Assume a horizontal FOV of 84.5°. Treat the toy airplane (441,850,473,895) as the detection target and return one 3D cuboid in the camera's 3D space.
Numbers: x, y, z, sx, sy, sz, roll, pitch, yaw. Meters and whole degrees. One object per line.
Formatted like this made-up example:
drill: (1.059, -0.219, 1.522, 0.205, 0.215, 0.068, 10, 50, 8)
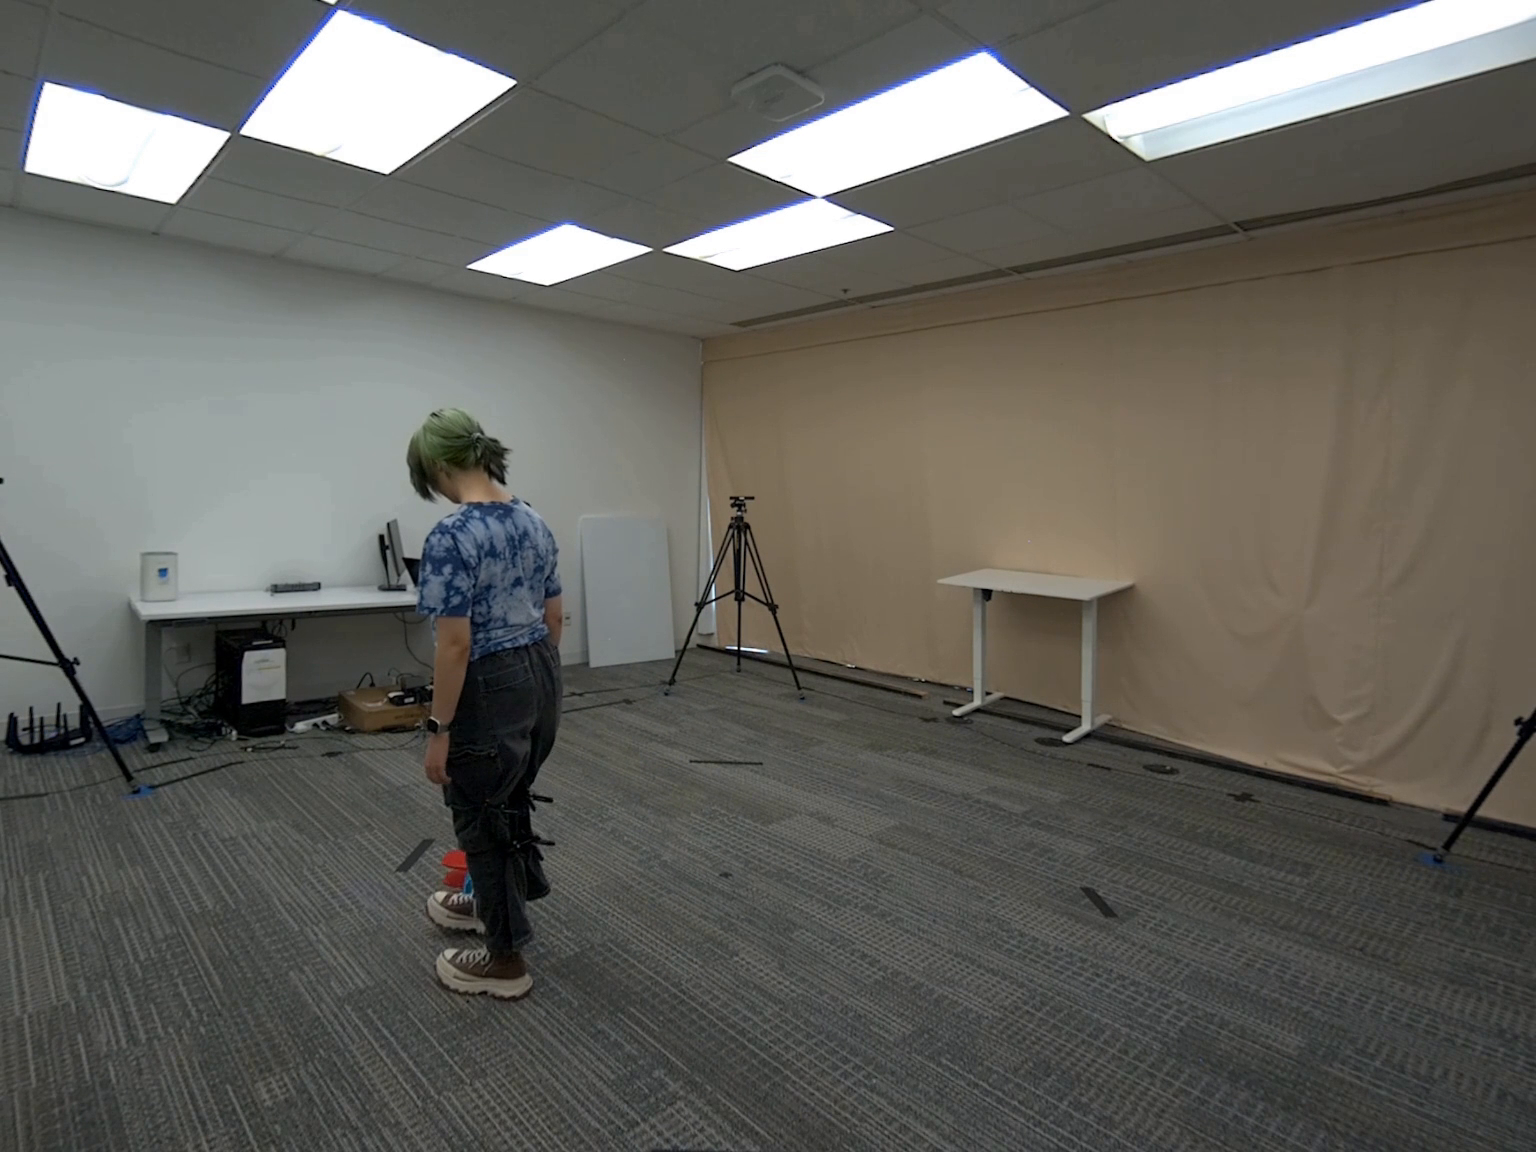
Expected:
toy airplane: (-0.974, 1.042, 2.846, 0.246, 0.156, 0.265, -1, 4, -29)
